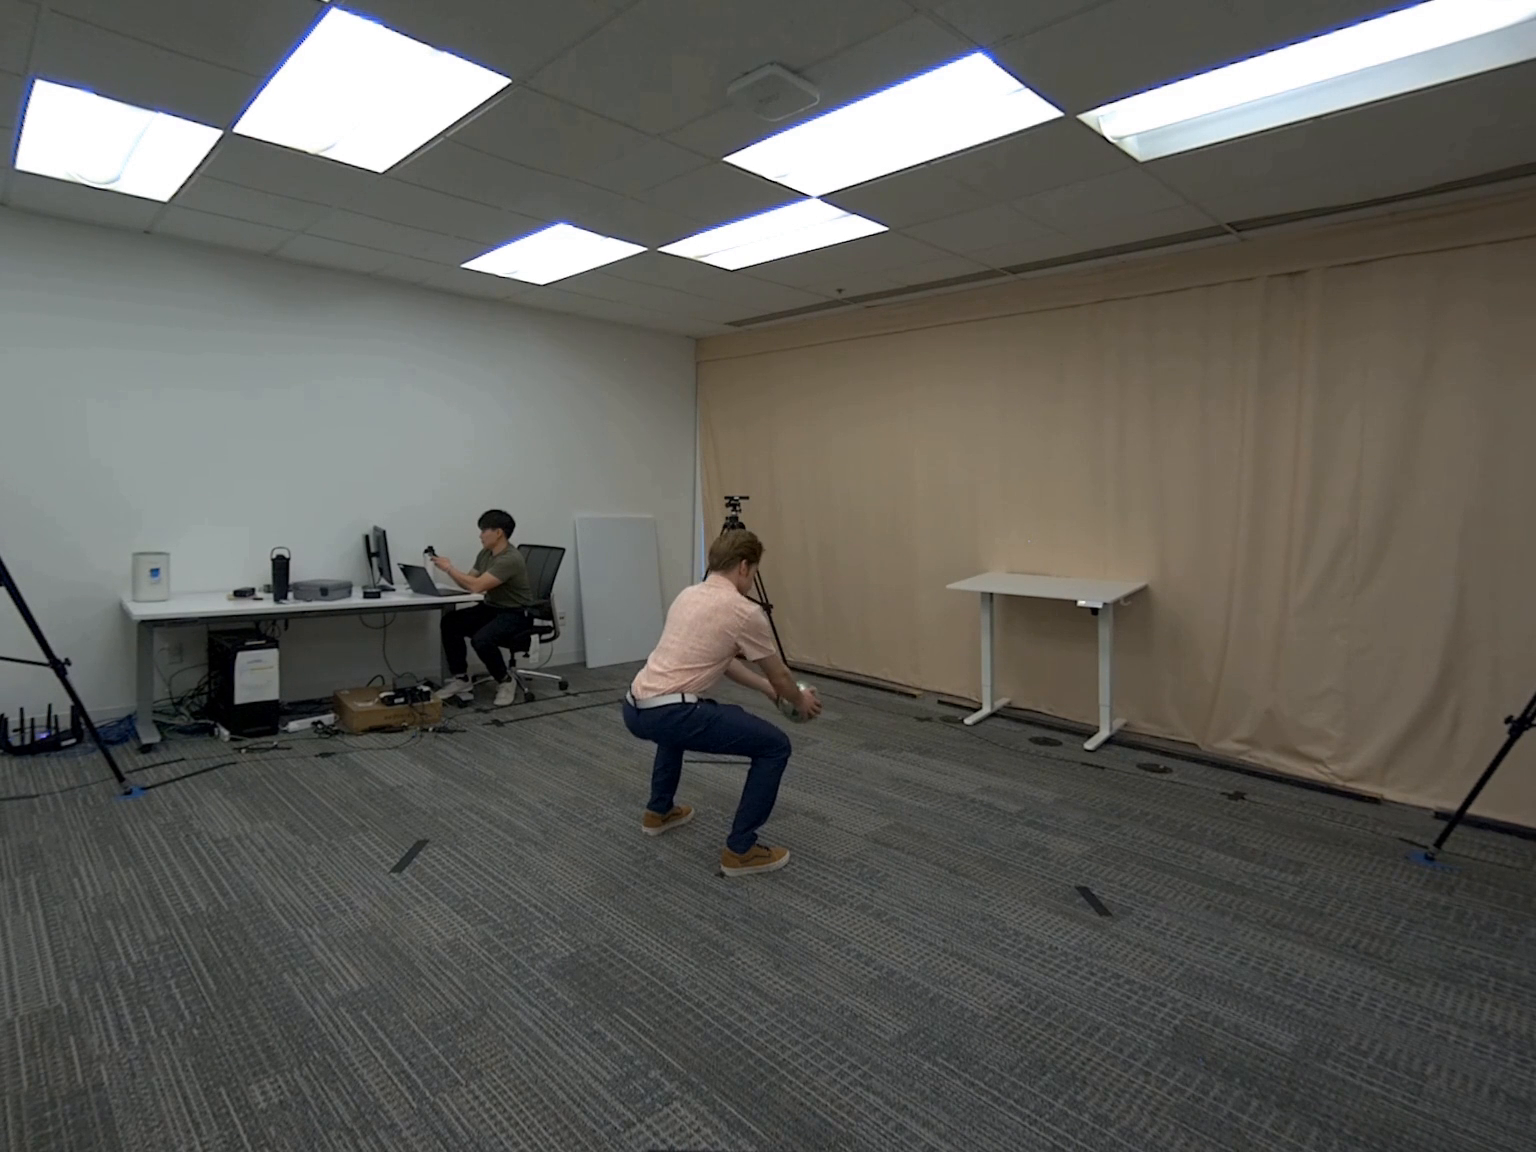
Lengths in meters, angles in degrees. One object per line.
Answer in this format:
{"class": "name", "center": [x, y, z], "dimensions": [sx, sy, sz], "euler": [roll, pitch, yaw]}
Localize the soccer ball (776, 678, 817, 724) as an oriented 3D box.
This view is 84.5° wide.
{"class": "soccer ball", "center": [0.133, 0.553, 3.698], "dimensions": [0.187, 0.187, 0.188], "euler": [1, 4, -1]}
